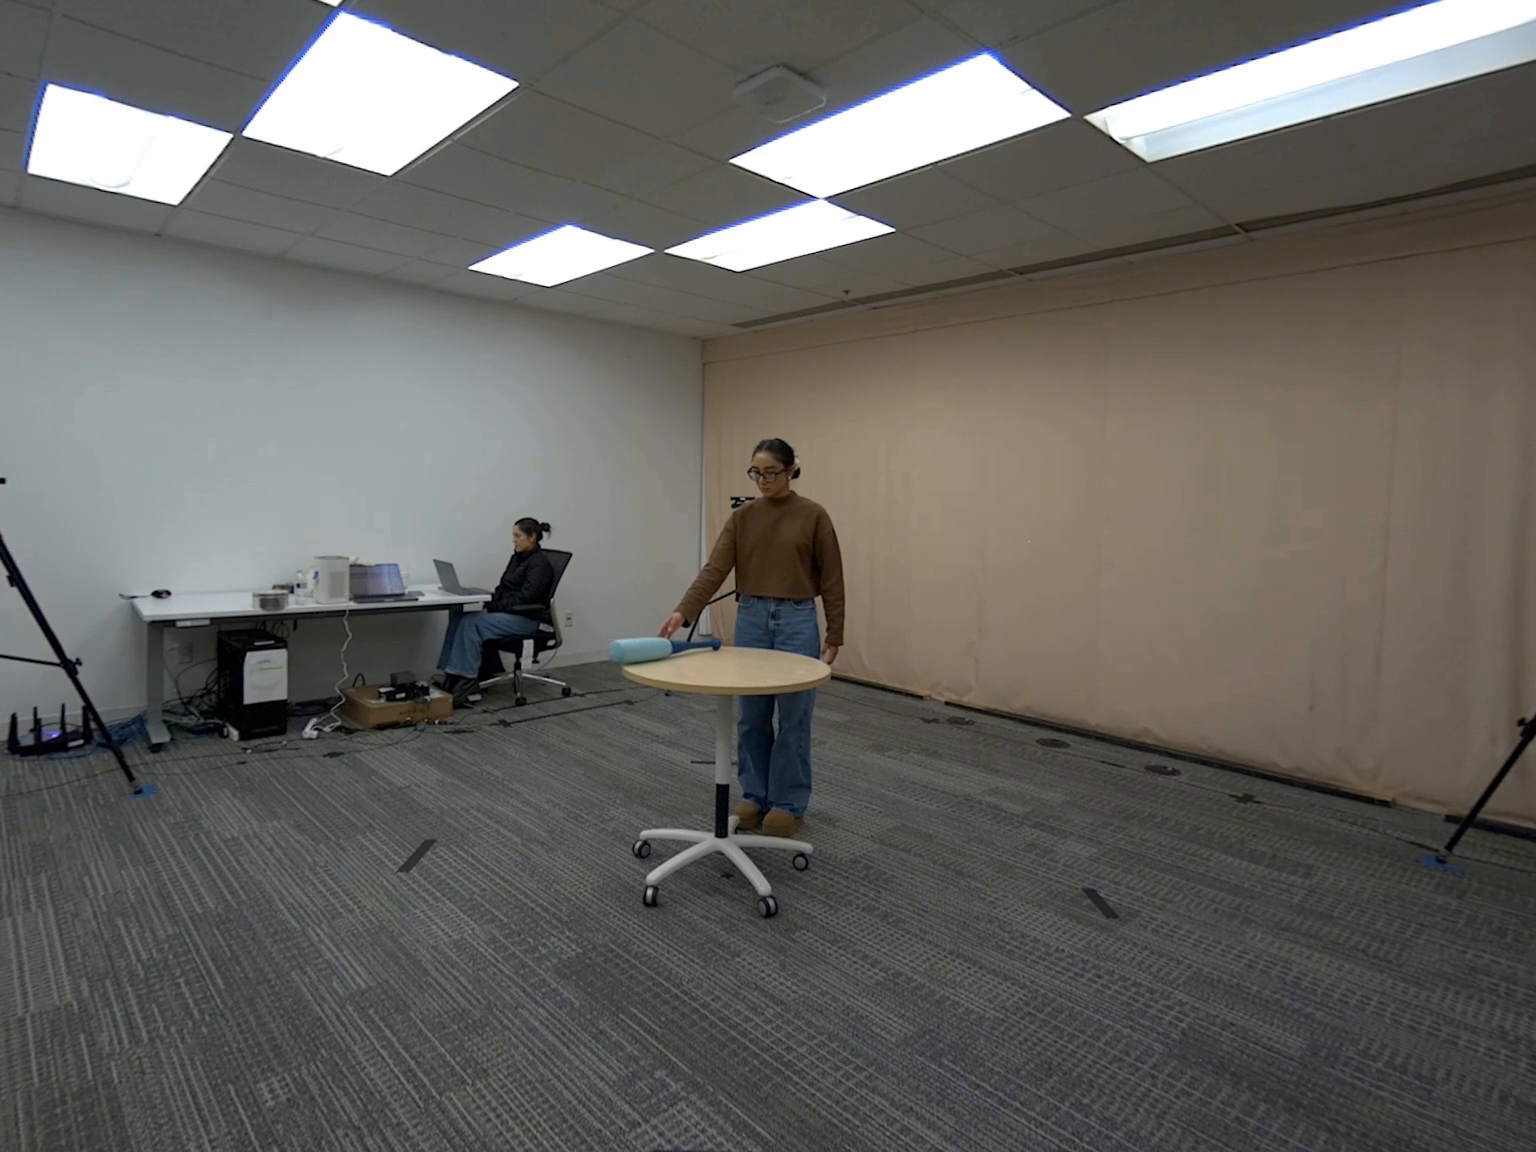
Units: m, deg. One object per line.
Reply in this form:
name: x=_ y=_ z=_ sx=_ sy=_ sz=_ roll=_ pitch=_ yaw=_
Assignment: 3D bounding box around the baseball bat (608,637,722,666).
baseball bat: x=-0.385 y=0.273 z=3.191 sx=0.091 sy=0.089 sz=0.530 roll=5 pitch=3 yaw=41
